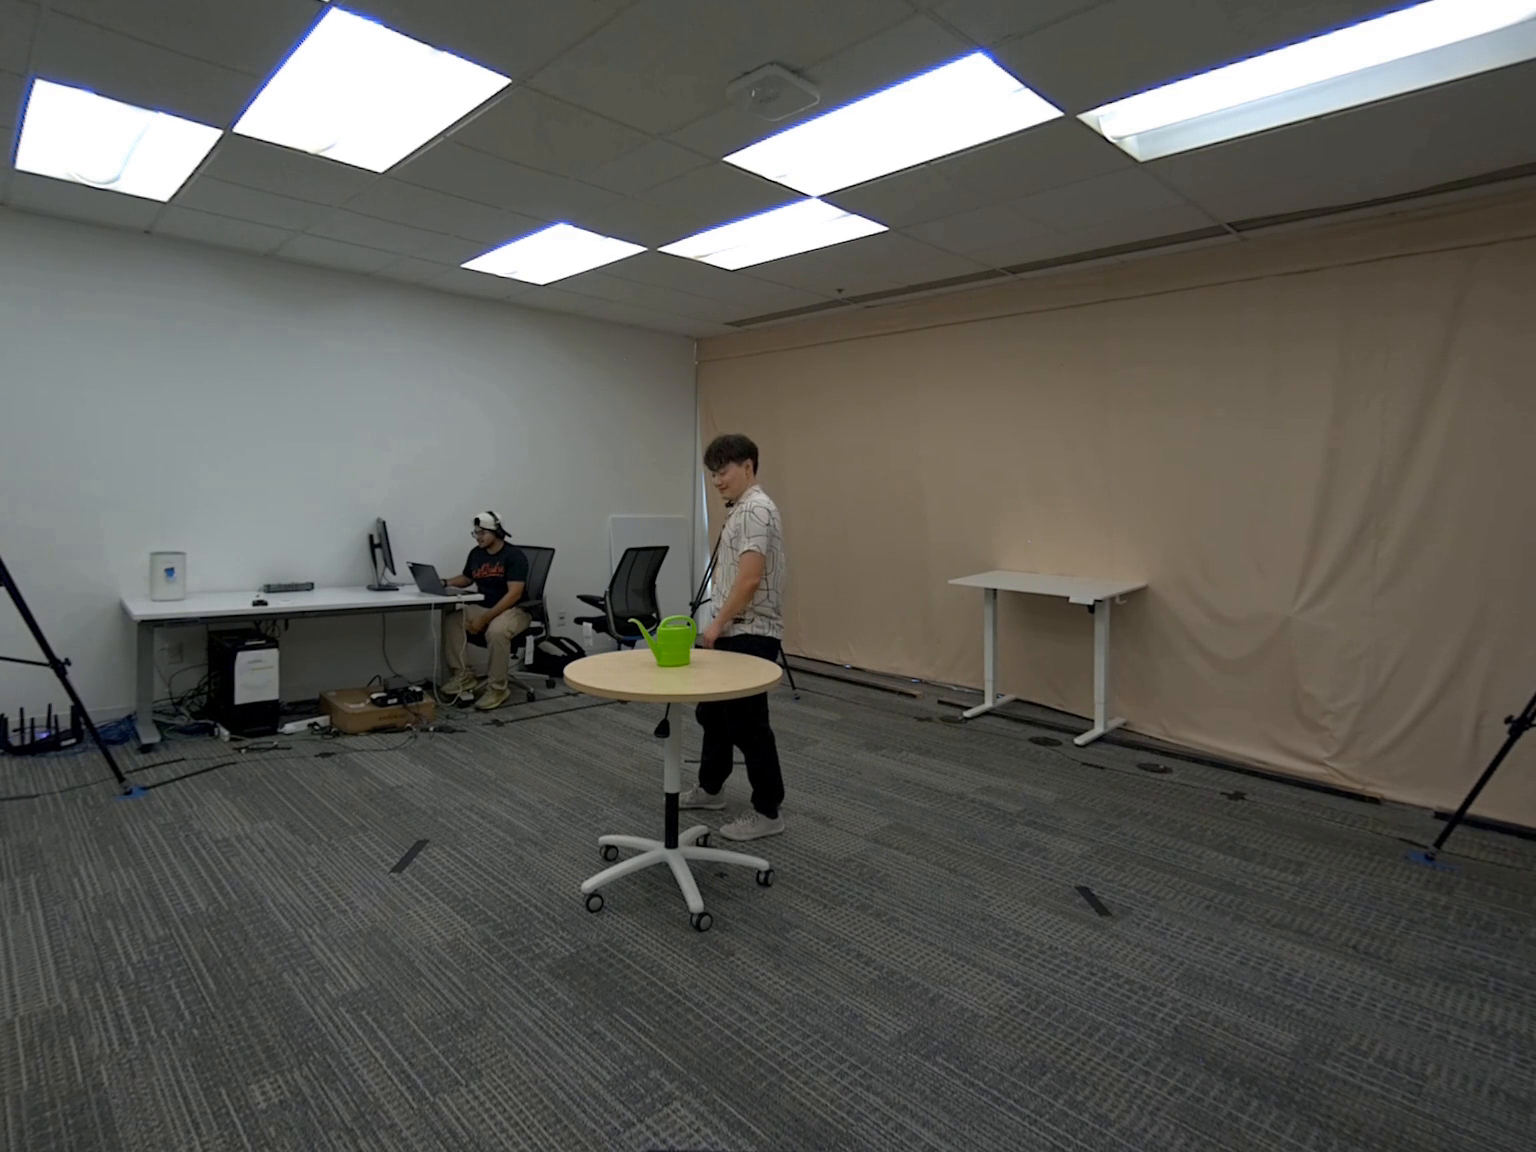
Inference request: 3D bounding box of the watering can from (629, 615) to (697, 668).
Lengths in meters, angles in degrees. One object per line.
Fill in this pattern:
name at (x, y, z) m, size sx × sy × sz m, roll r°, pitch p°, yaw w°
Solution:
watering can at (-0.387, 0.235, 3.023) m, size 0.273 × 0.177 × 0.100 m, roll 1°, pitch 1°, yaw -24°
